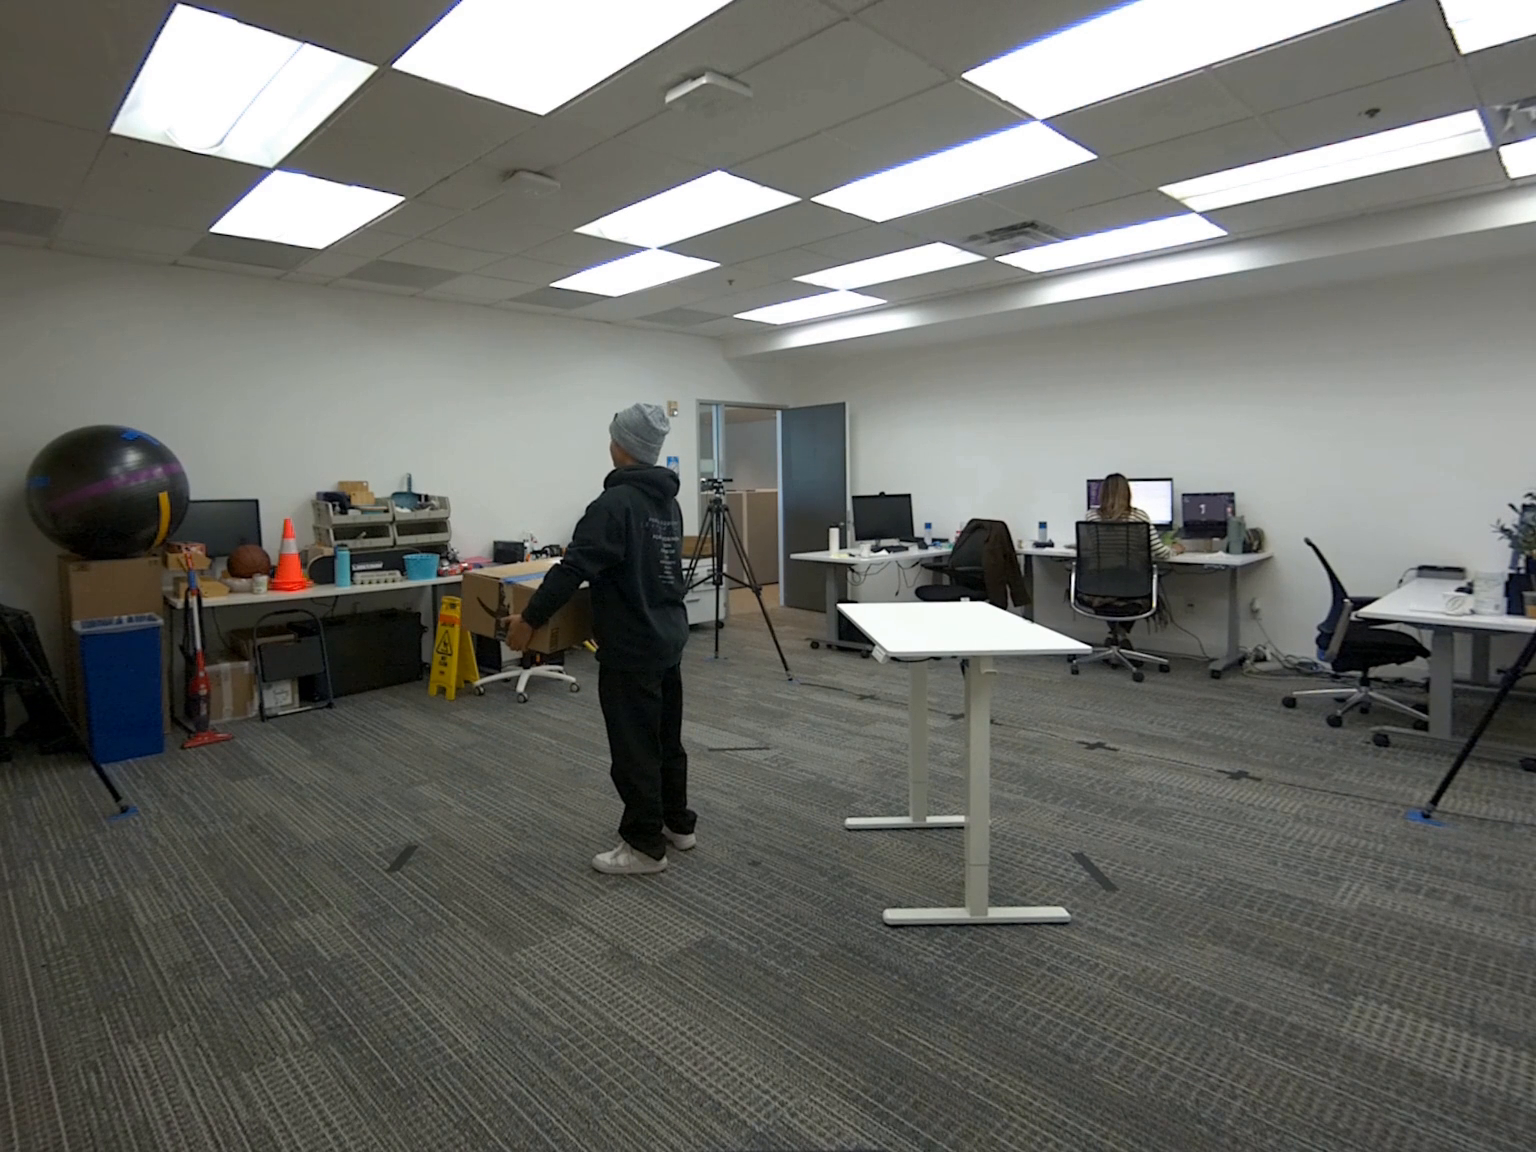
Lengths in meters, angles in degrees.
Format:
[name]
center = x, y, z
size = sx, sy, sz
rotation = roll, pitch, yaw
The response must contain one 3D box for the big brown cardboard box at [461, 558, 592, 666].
[big brown cardboard box]
center = -0.817, 0.087, 3.266
size = 0.428, 0.231, 0.578
rotation = 10, 12, 25
